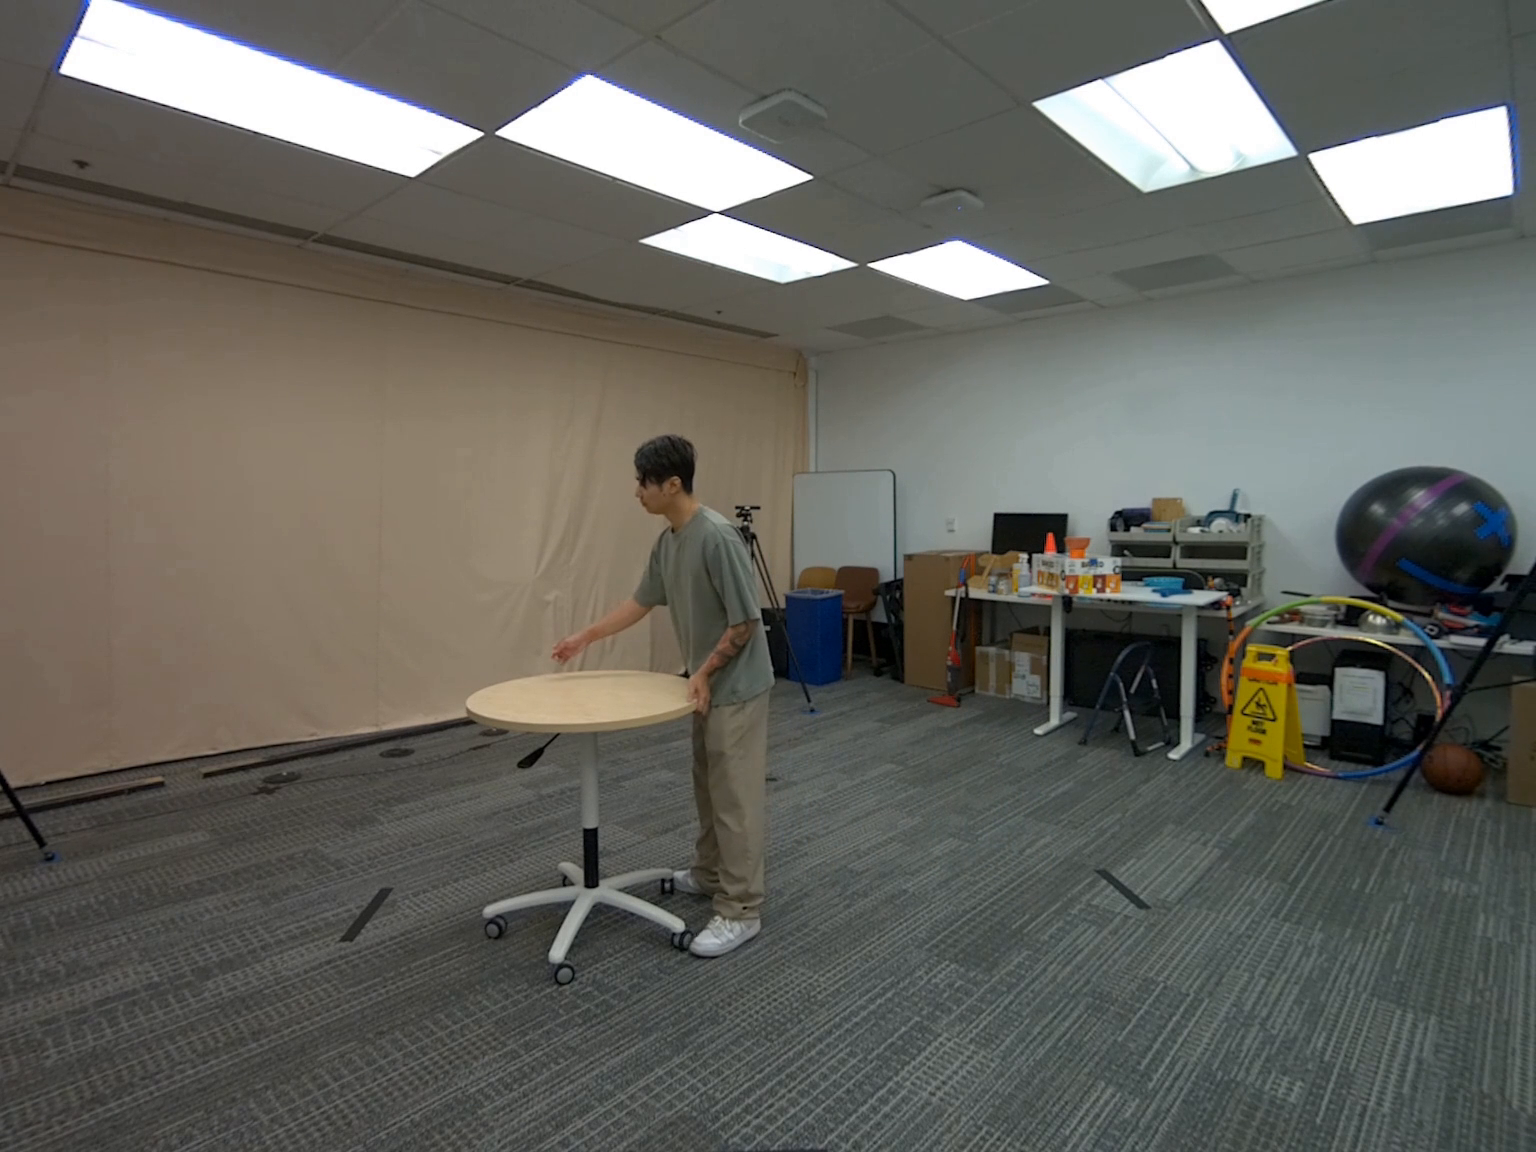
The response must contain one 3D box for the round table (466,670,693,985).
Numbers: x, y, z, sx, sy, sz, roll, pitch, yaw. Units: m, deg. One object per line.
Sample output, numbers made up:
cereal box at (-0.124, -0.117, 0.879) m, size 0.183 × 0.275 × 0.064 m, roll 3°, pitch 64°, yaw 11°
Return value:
round table at (-0.591, 0.777, 2.767) m, size 0.784 × 0.785 × 0.788 m, roll -1°, pitch 4°, yaw -2°
